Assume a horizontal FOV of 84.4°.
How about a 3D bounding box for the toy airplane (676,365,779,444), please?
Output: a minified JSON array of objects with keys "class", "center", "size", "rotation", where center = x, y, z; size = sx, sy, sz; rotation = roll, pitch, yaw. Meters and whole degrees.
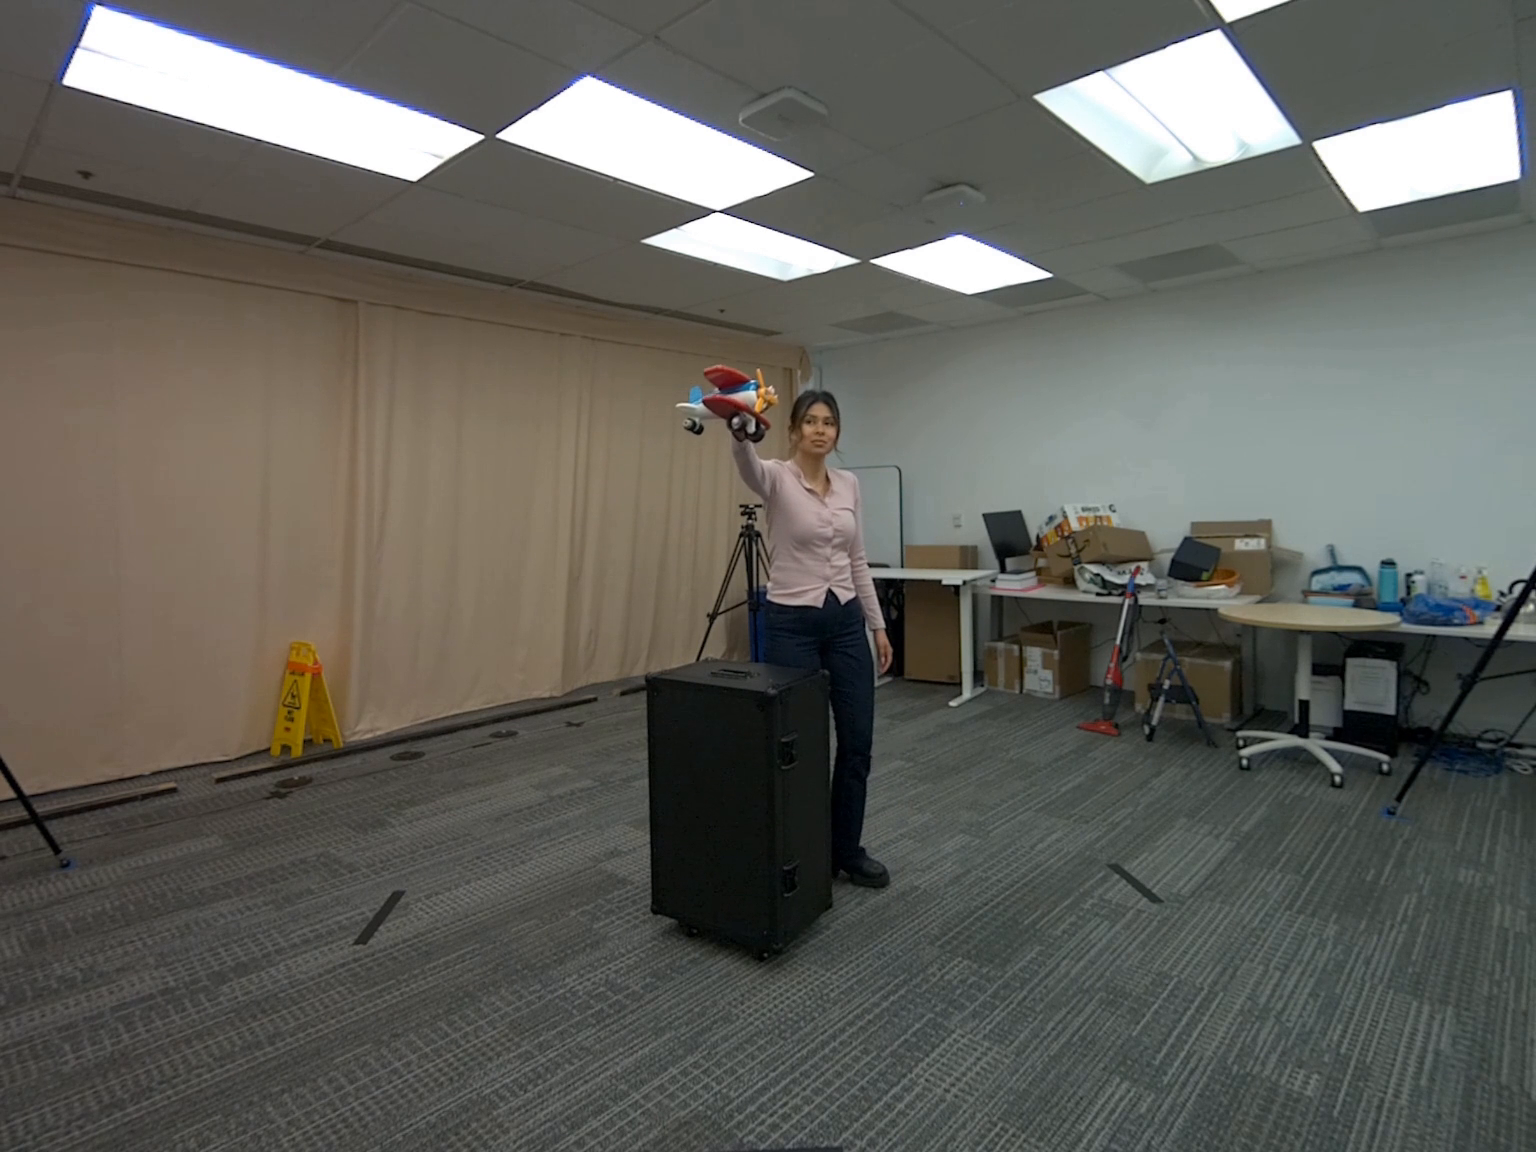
[{"class":"toy airplane","center":[-0.125,-0.455,2.224],"size":[0.262,0.157,0.248],"rotation":[14,-5,7]}]
